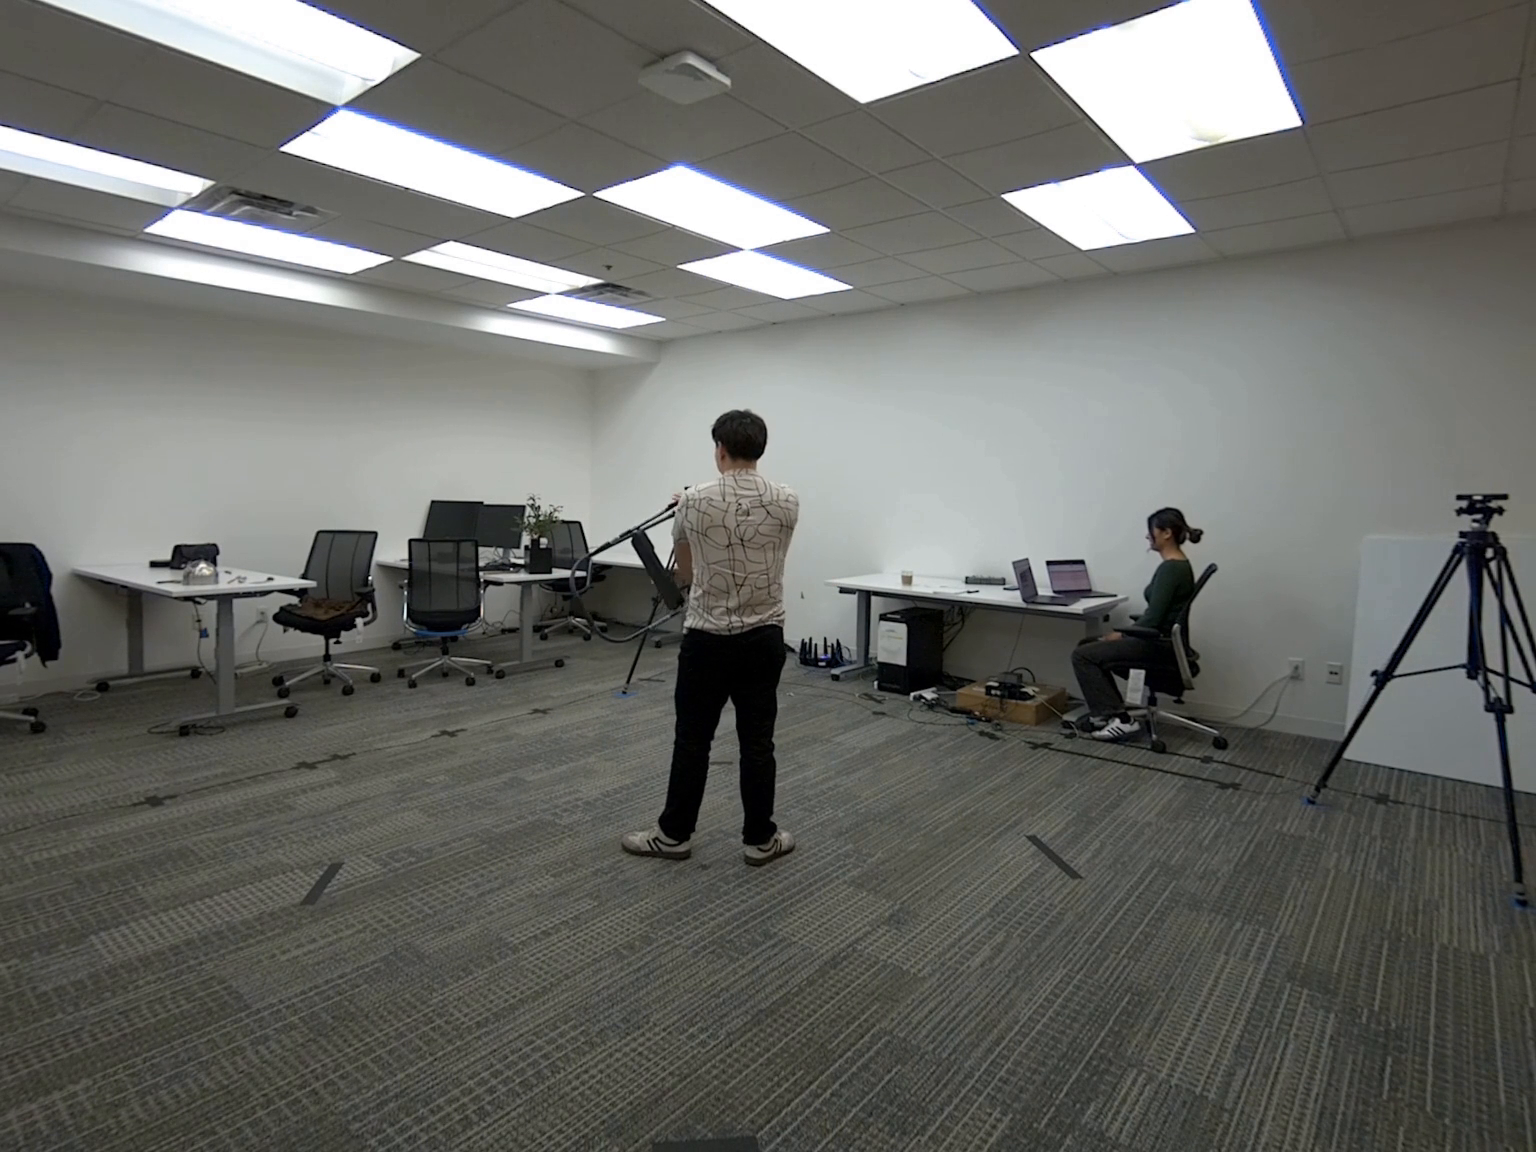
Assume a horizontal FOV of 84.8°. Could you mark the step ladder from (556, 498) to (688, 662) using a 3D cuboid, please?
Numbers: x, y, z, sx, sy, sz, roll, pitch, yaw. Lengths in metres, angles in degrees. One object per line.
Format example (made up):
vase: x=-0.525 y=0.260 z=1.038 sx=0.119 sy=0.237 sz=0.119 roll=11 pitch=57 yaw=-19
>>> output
step ladder: x=-0.533 y=0.012 z=3.613 sx=0.601 sy=0.434 sz=0.350 roll=-29 pitch=-4 yaw=-17
